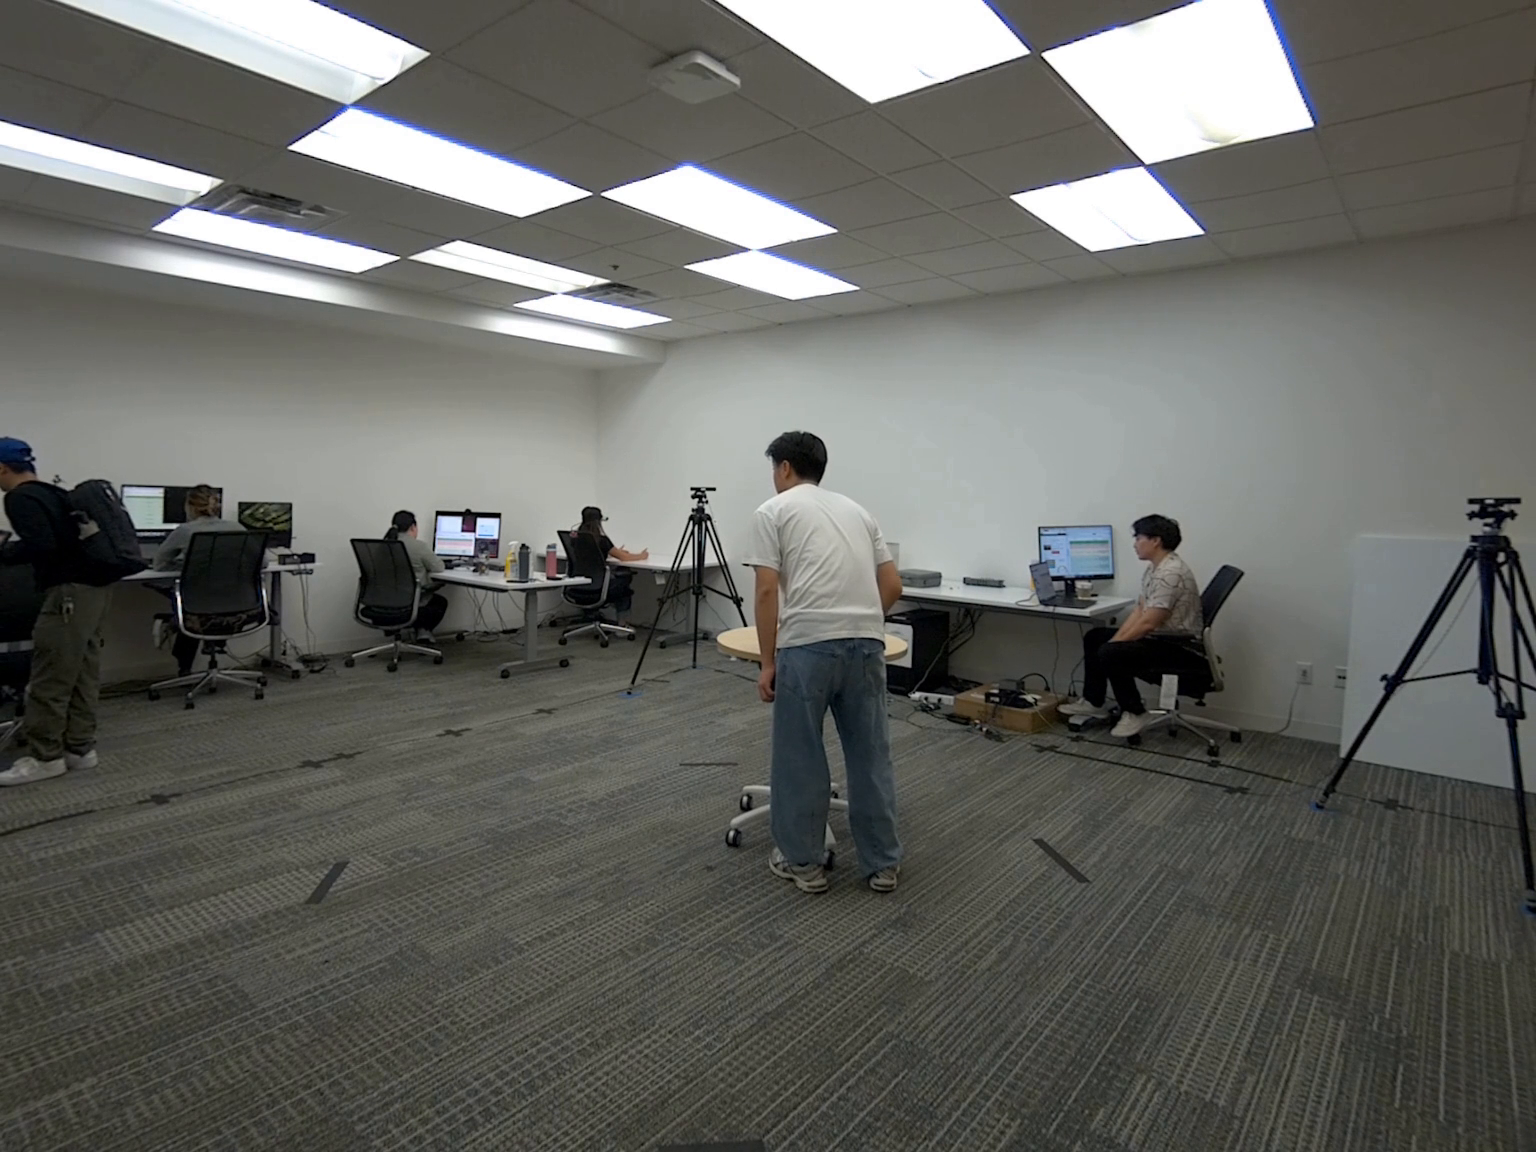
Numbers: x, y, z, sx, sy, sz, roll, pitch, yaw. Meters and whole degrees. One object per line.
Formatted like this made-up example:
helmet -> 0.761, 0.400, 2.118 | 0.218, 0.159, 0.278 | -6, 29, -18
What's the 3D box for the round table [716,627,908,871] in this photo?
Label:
round table -> 0.148, 0.646, 3.466 | 0.763, 0.791, 0.768 | 1, 4, -2
